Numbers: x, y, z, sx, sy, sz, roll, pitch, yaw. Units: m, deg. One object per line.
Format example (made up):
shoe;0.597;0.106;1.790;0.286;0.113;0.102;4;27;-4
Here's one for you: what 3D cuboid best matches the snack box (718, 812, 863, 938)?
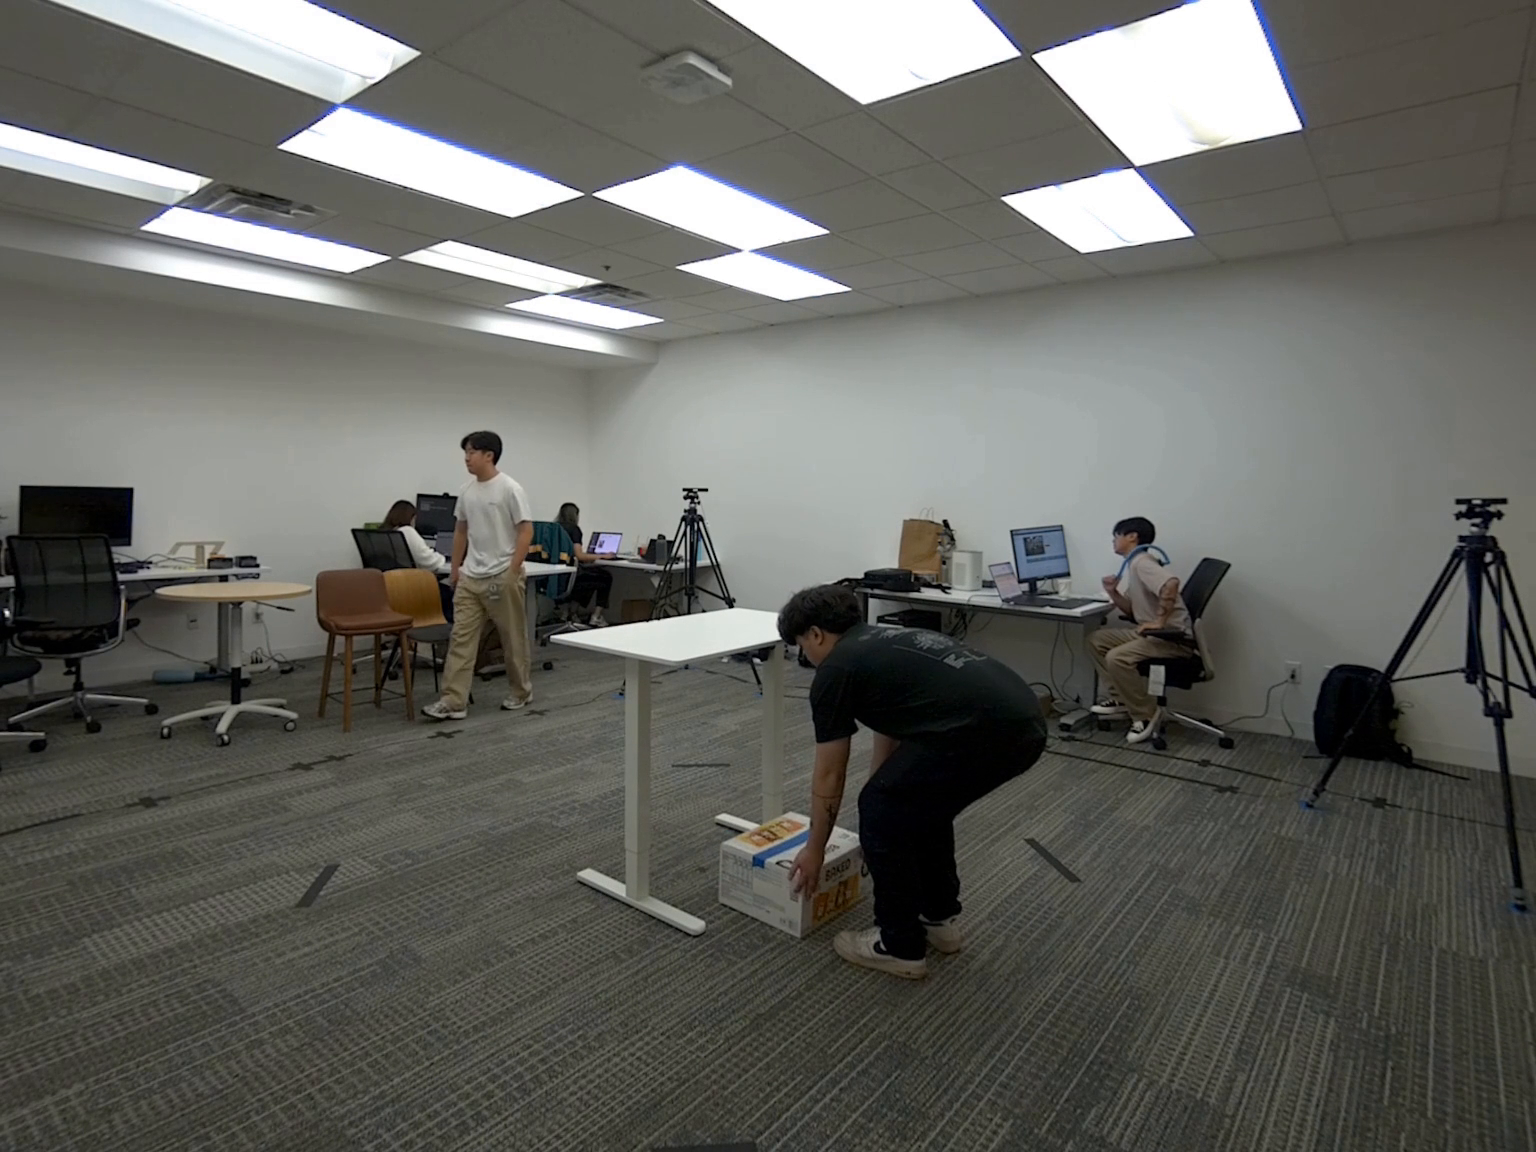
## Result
snack box;0.083;0.990;2.886;0.351;0.205;0.393;3;5;39
